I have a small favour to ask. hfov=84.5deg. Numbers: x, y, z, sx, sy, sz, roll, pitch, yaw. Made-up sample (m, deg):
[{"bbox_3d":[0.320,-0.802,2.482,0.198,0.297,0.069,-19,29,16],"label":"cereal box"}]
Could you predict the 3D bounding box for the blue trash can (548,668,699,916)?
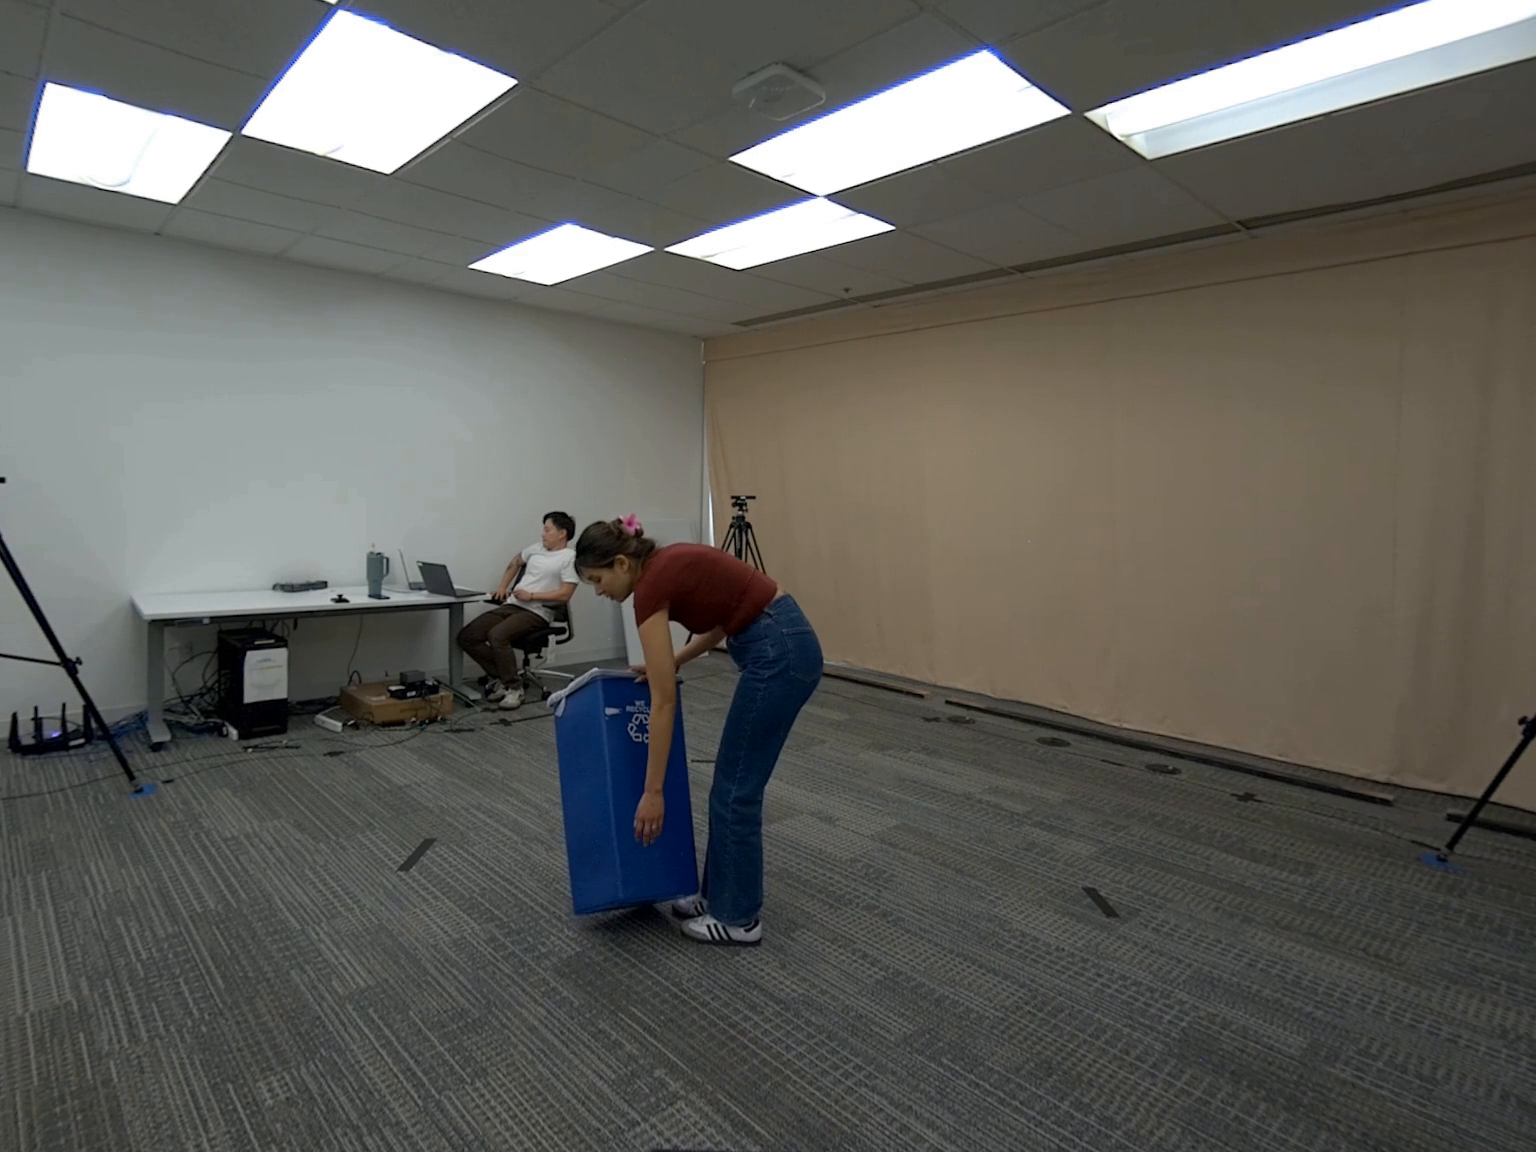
[{"bbox_3d":[-0.490,0.725,2.840,0.364,0.727,0.381,9,-30,-38],"label":"blue trash can"}]
